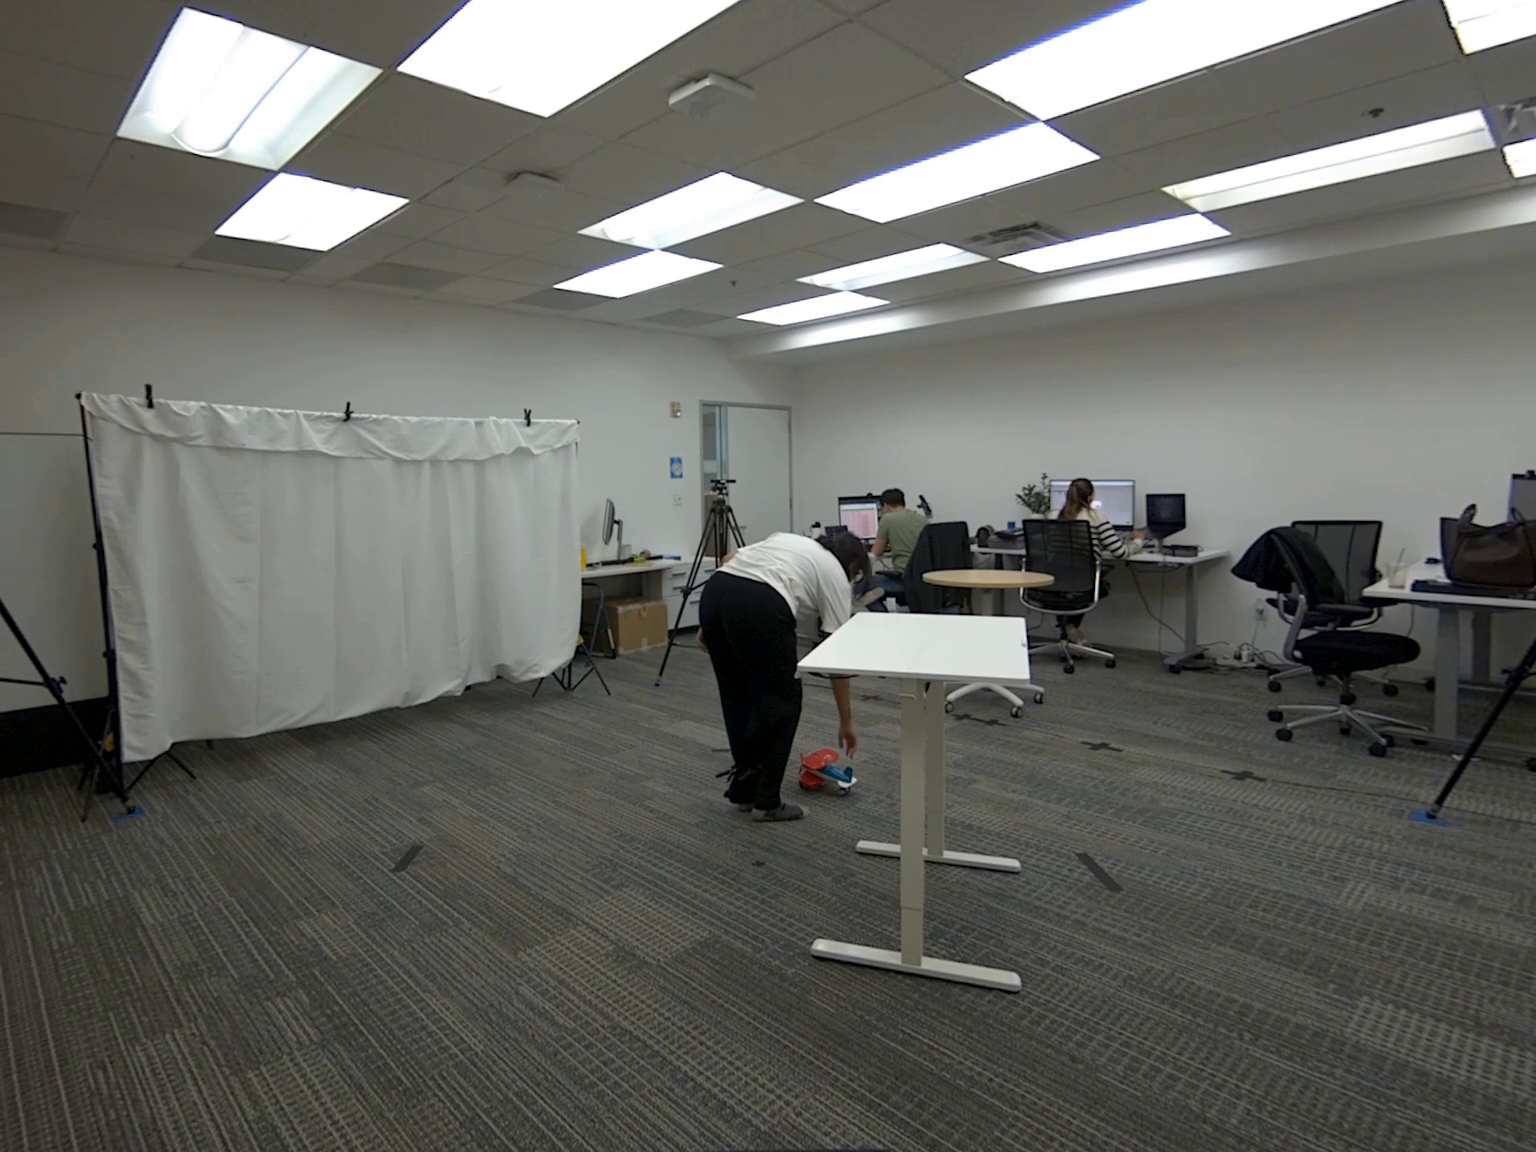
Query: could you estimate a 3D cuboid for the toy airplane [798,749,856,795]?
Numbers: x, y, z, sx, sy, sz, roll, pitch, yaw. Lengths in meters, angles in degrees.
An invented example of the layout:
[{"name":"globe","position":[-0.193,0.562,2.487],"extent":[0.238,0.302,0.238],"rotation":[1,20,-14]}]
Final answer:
[{"name":"toy airplane","position":[0.270,0.883,3.853],"extent":[0.261,0.156,0.250],"rotation":[0,4,6]}]
